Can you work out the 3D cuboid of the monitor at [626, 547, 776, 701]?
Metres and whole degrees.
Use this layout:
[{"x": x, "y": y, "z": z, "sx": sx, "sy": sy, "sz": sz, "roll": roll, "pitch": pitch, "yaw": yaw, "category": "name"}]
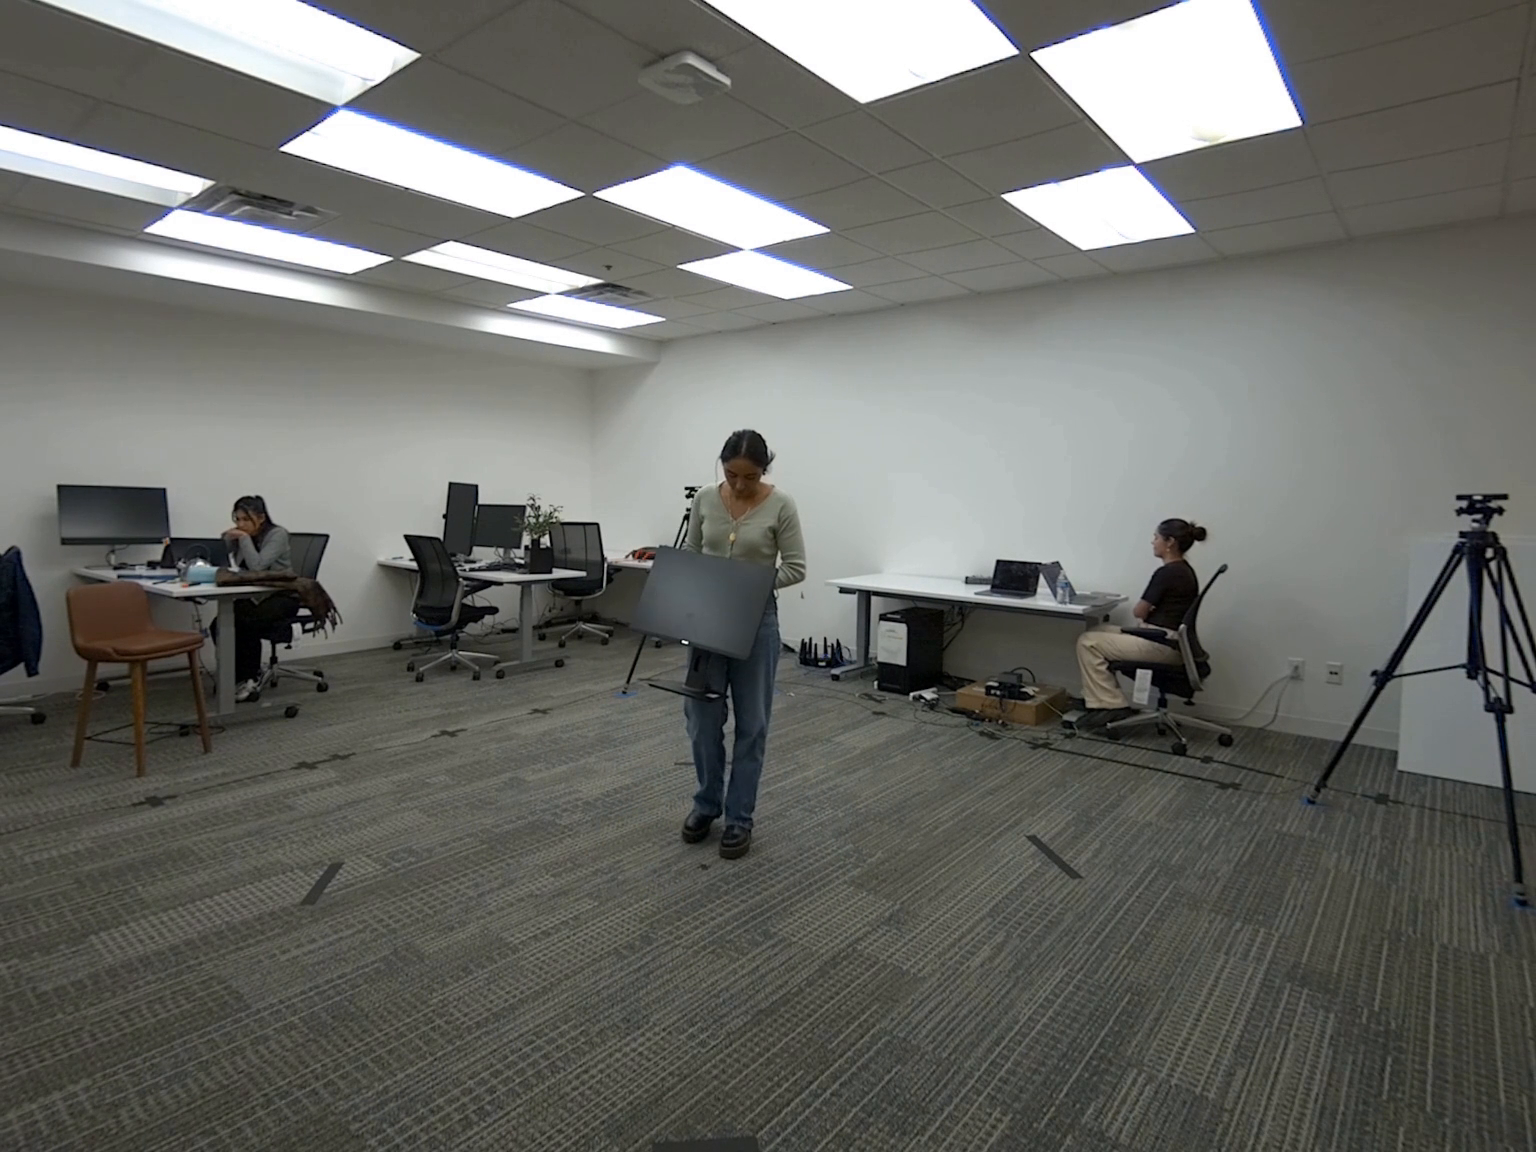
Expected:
[{"x": -0.265, "y": 0.170, "z": 3.172, "sx": 0.547, "sy": 0.514, "sz": 0.169, "roll": 12, "pitch": 4, "yaw": 30, "category": "monitor"}]
